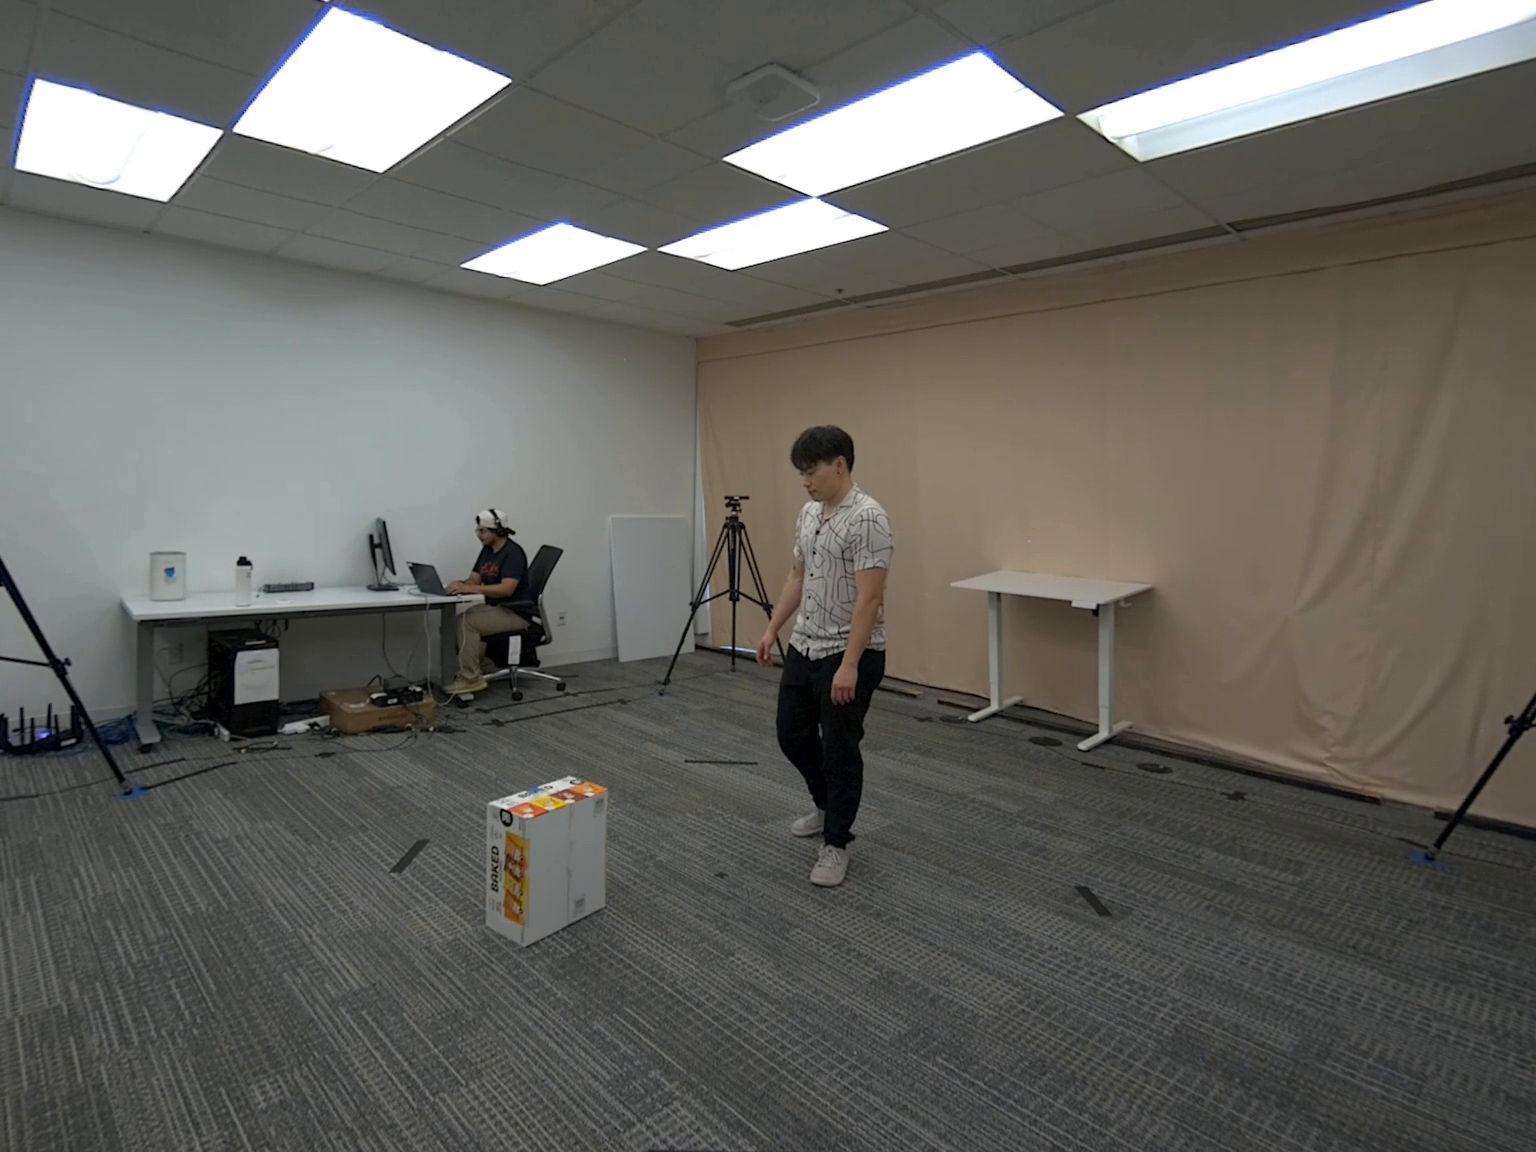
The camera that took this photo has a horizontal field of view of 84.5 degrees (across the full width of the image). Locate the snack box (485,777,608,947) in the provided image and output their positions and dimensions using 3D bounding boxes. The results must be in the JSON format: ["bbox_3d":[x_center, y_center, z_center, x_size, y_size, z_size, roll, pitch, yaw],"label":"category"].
[{"bbox_3d":[-0.726,0.921,2.753,0.211,0.404,0.333,4,4,37],"label":"snack box"}]
